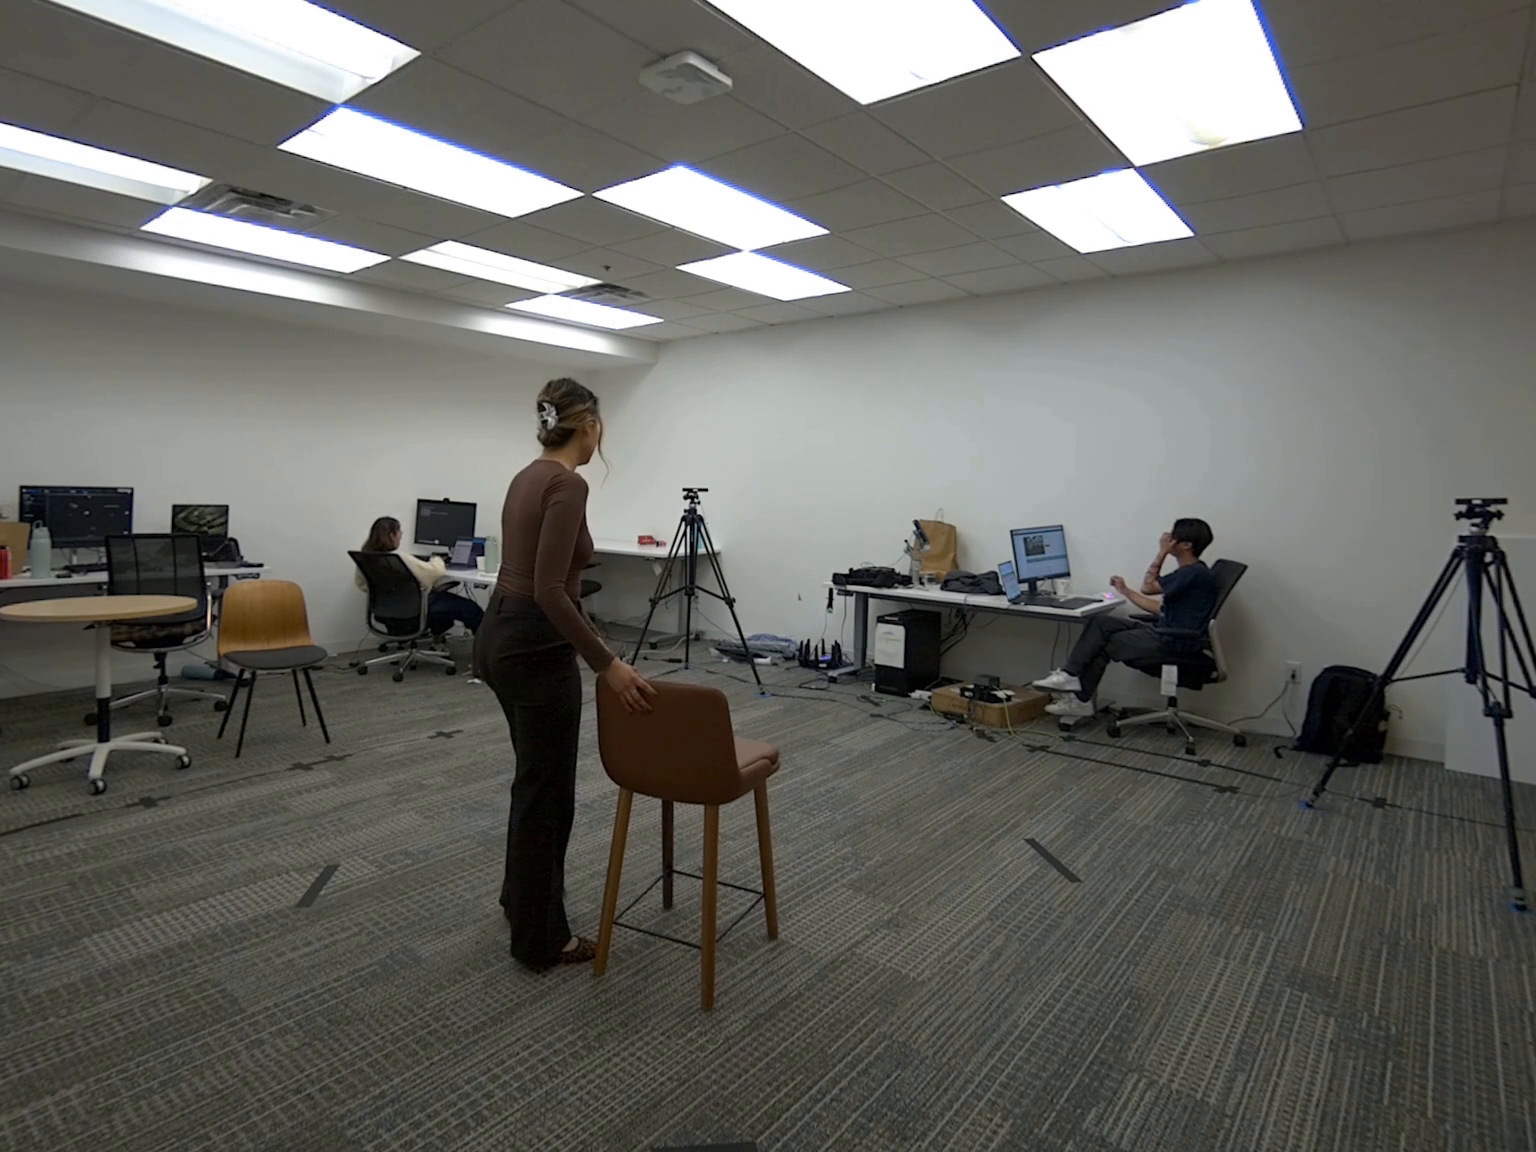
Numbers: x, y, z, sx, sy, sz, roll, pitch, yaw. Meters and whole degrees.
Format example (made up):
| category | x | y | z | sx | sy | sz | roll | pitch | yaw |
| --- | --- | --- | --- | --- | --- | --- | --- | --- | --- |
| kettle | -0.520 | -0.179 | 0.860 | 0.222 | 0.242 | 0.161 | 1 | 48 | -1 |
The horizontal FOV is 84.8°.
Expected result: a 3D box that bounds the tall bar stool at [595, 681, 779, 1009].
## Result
| category | x | y | z | sx | sy | sz | roll | pitch | yaw |
| --- | --- | --- | --- | --- | --- | --- | --- | --- | --- |
| tall bar stool | -0.243 | 0.693 | 2.505 | 0.468 | 0.885 | 0.458 | 3 | 6 | 25 |
